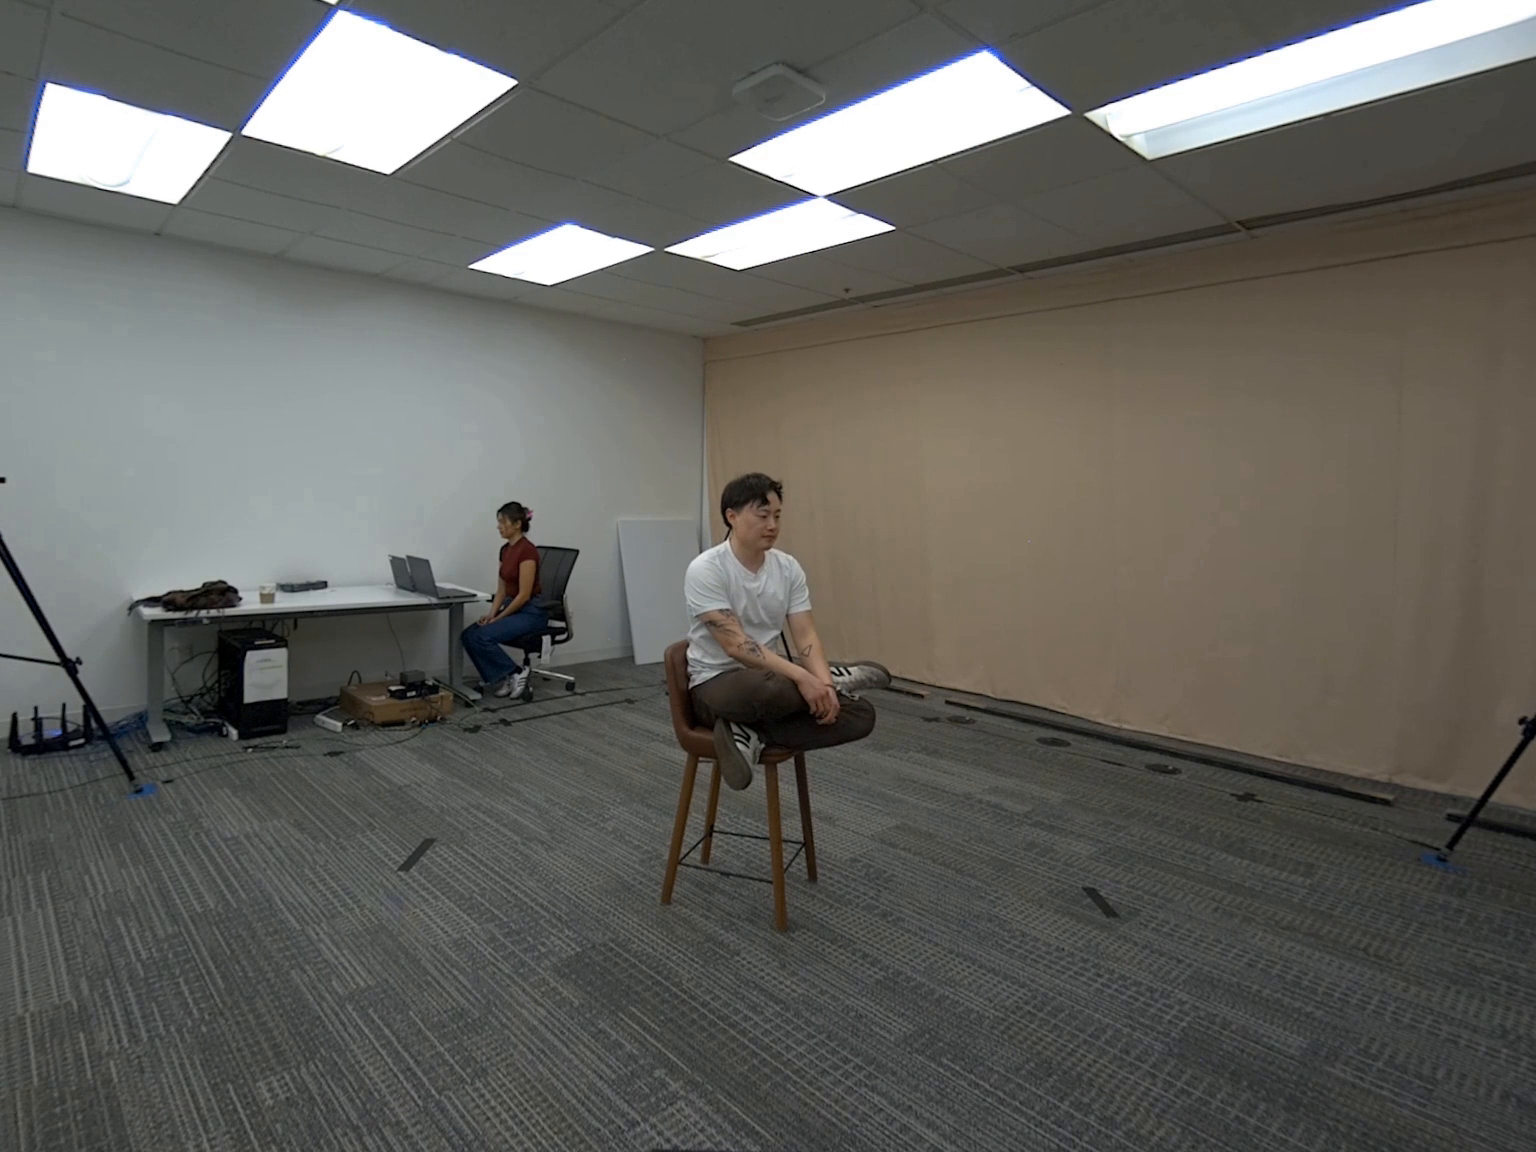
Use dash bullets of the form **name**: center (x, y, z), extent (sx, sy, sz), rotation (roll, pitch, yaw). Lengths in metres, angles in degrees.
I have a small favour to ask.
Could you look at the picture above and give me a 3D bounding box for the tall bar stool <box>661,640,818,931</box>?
- **tall bar stool**: center (-0.103, 0.688, 2.944), extent (0.475, 0.888, 0.450), rotation (0, 3, 22)
